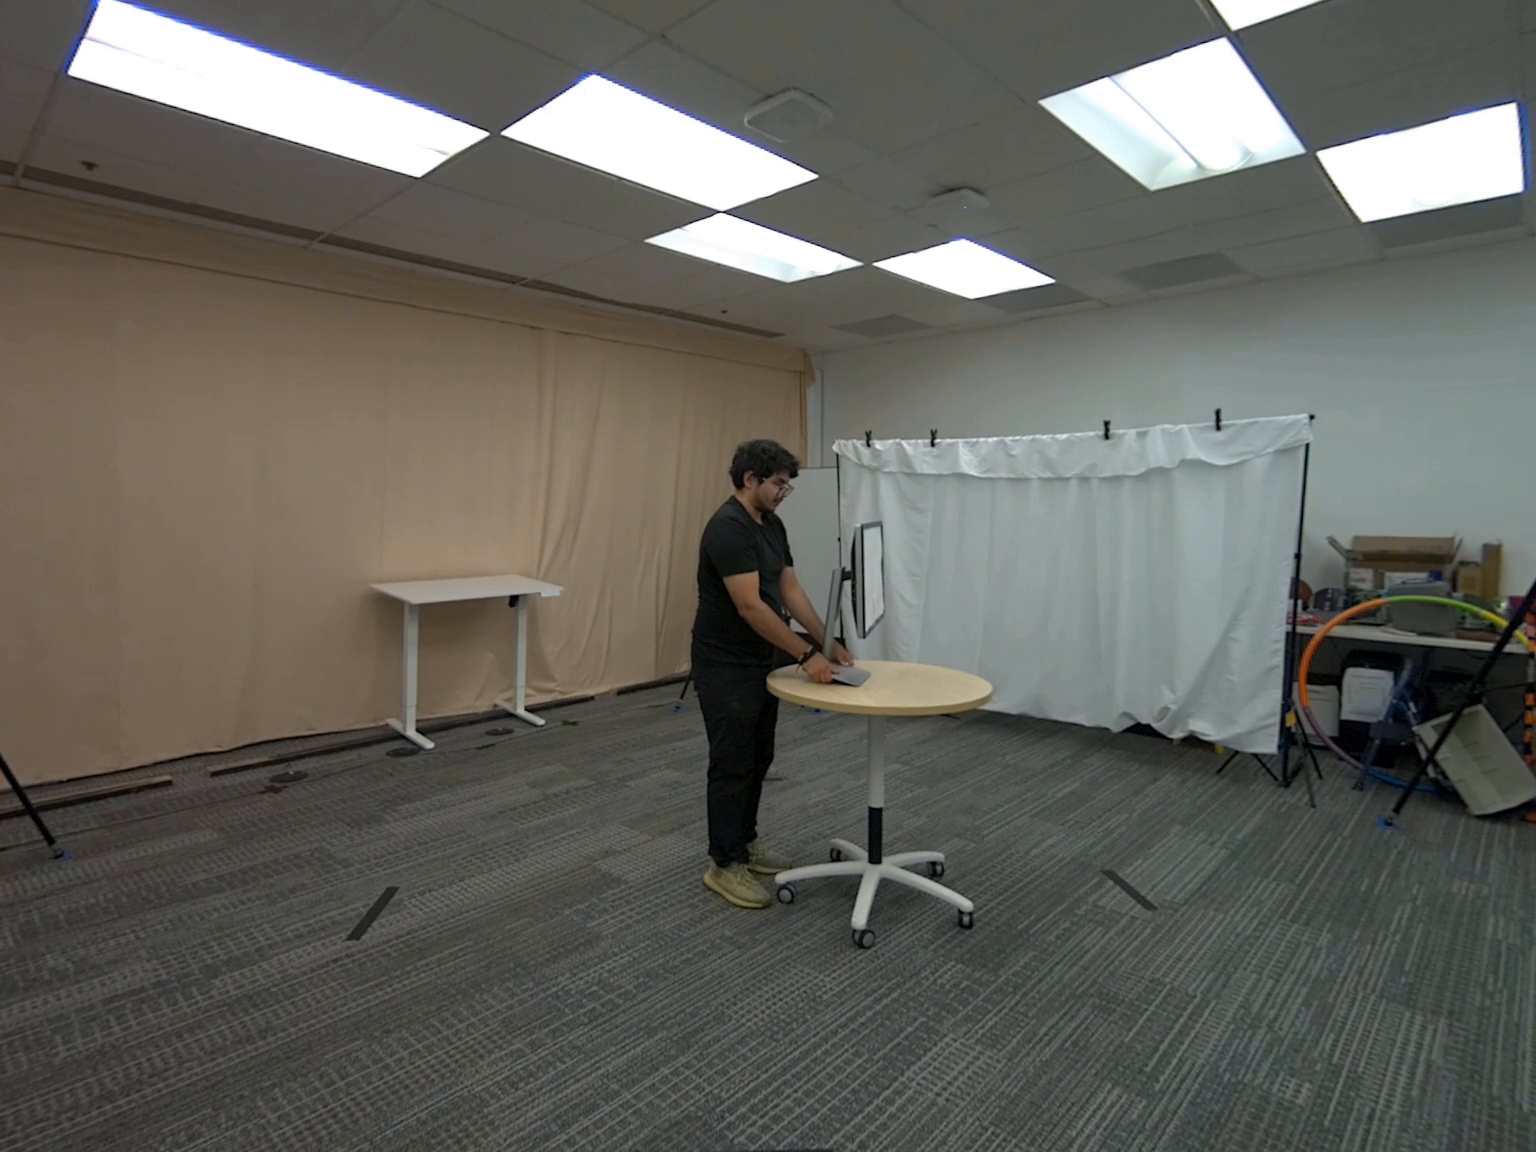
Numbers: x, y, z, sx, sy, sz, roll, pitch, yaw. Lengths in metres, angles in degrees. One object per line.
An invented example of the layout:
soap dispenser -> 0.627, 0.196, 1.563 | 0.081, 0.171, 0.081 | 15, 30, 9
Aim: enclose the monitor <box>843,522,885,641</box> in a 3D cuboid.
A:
monitor -> 0.286, 0.078, 2.935 | 0.214, 0.552, 0.556 | 6, 6, 15
